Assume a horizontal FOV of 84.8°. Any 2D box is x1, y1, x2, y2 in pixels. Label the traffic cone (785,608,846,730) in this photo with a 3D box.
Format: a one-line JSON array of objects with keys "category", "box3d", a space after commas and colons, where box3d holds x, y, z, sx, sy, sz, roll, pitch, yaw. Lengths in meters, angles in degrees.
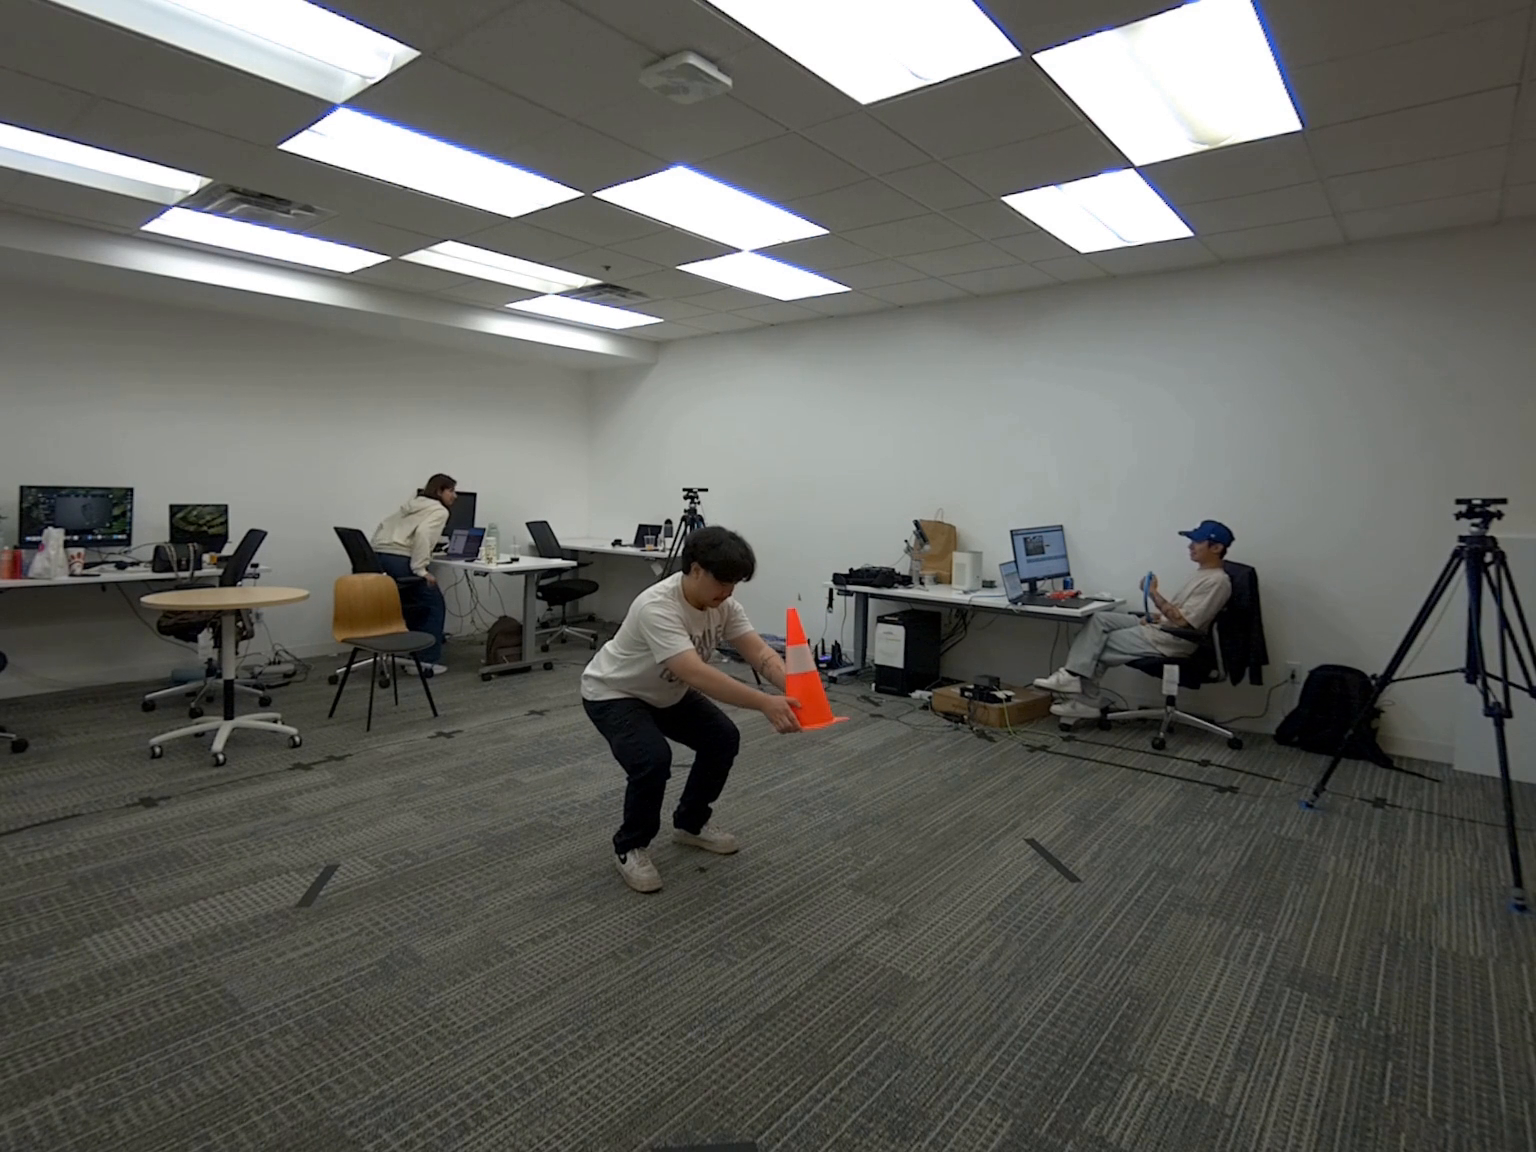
[{"category": "traffic cone", "box3d": [0.103, 0.290, 2.802, 0.208, 0.386, 0.199, -10, -5, 32]}]
